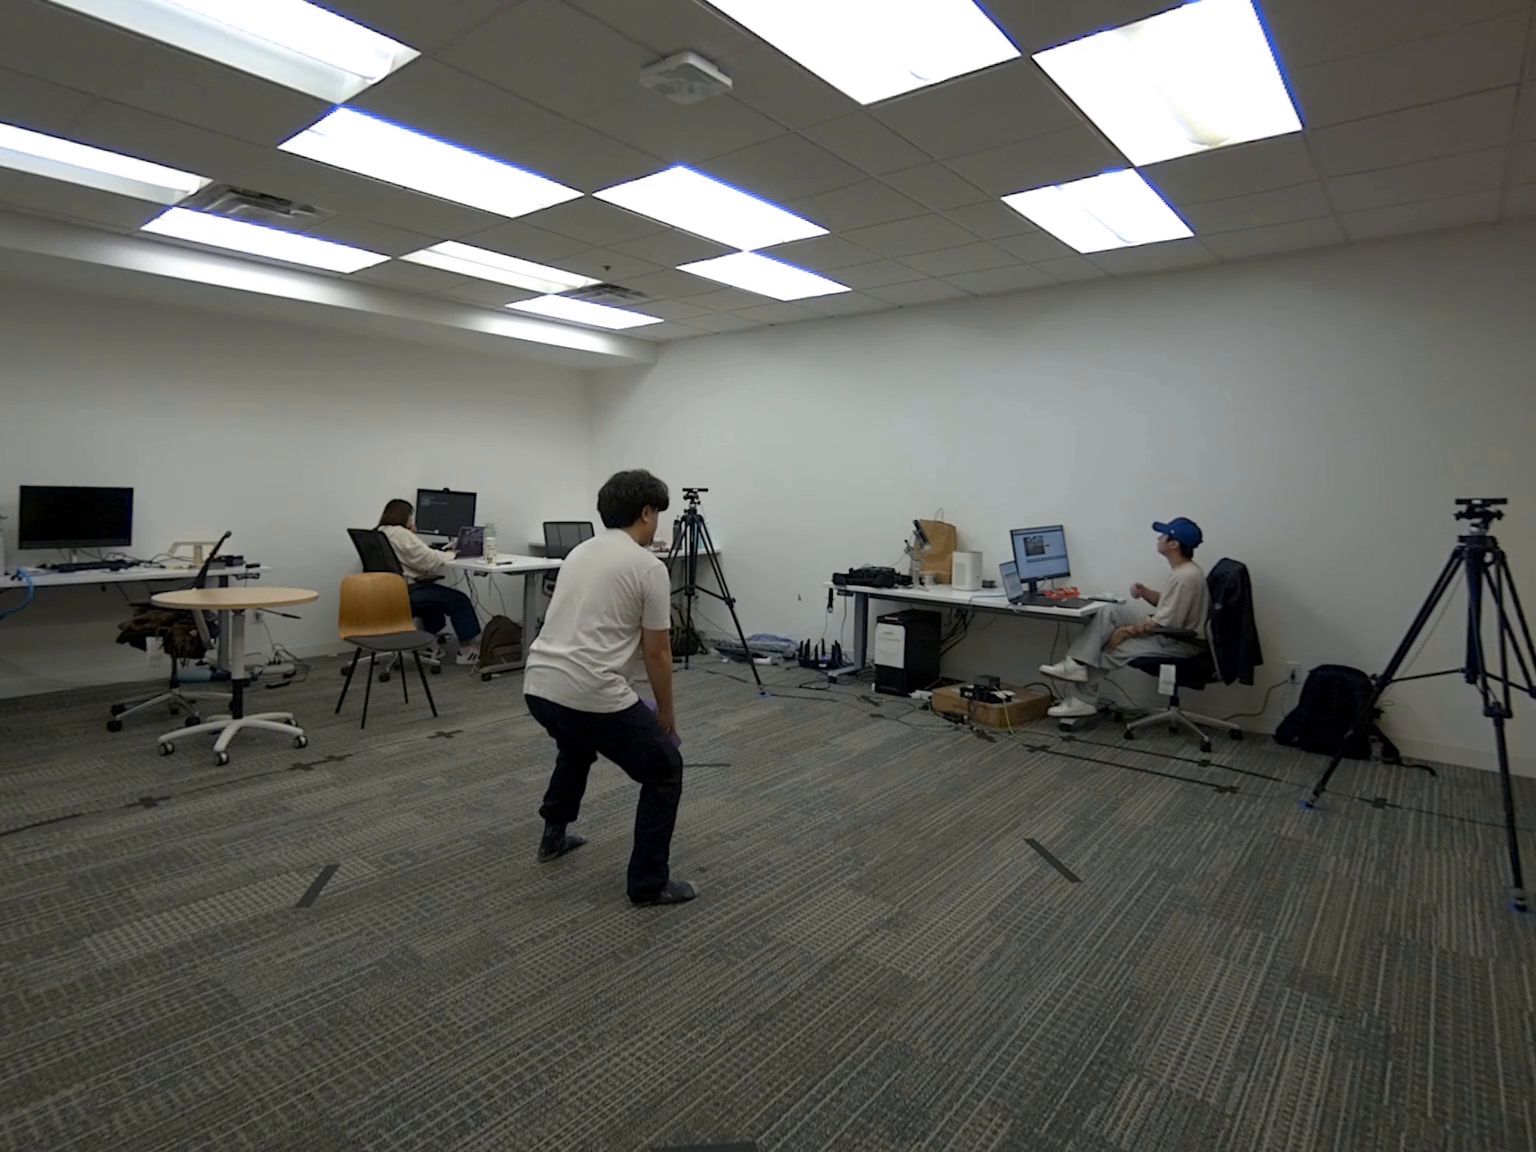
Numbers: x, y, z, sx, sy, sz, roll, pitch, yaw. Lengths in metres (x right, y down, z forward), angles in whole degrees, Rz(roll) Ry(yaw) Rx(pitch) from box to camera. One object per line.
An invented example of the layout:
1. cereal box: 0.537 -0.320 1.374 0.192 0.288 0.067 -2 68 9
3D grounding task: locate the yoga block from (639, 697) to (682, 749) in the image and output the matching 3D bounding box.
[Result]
1. yoga block: -0.441 0.564 3.205 0.154 0.221 0.076 11 47 39
